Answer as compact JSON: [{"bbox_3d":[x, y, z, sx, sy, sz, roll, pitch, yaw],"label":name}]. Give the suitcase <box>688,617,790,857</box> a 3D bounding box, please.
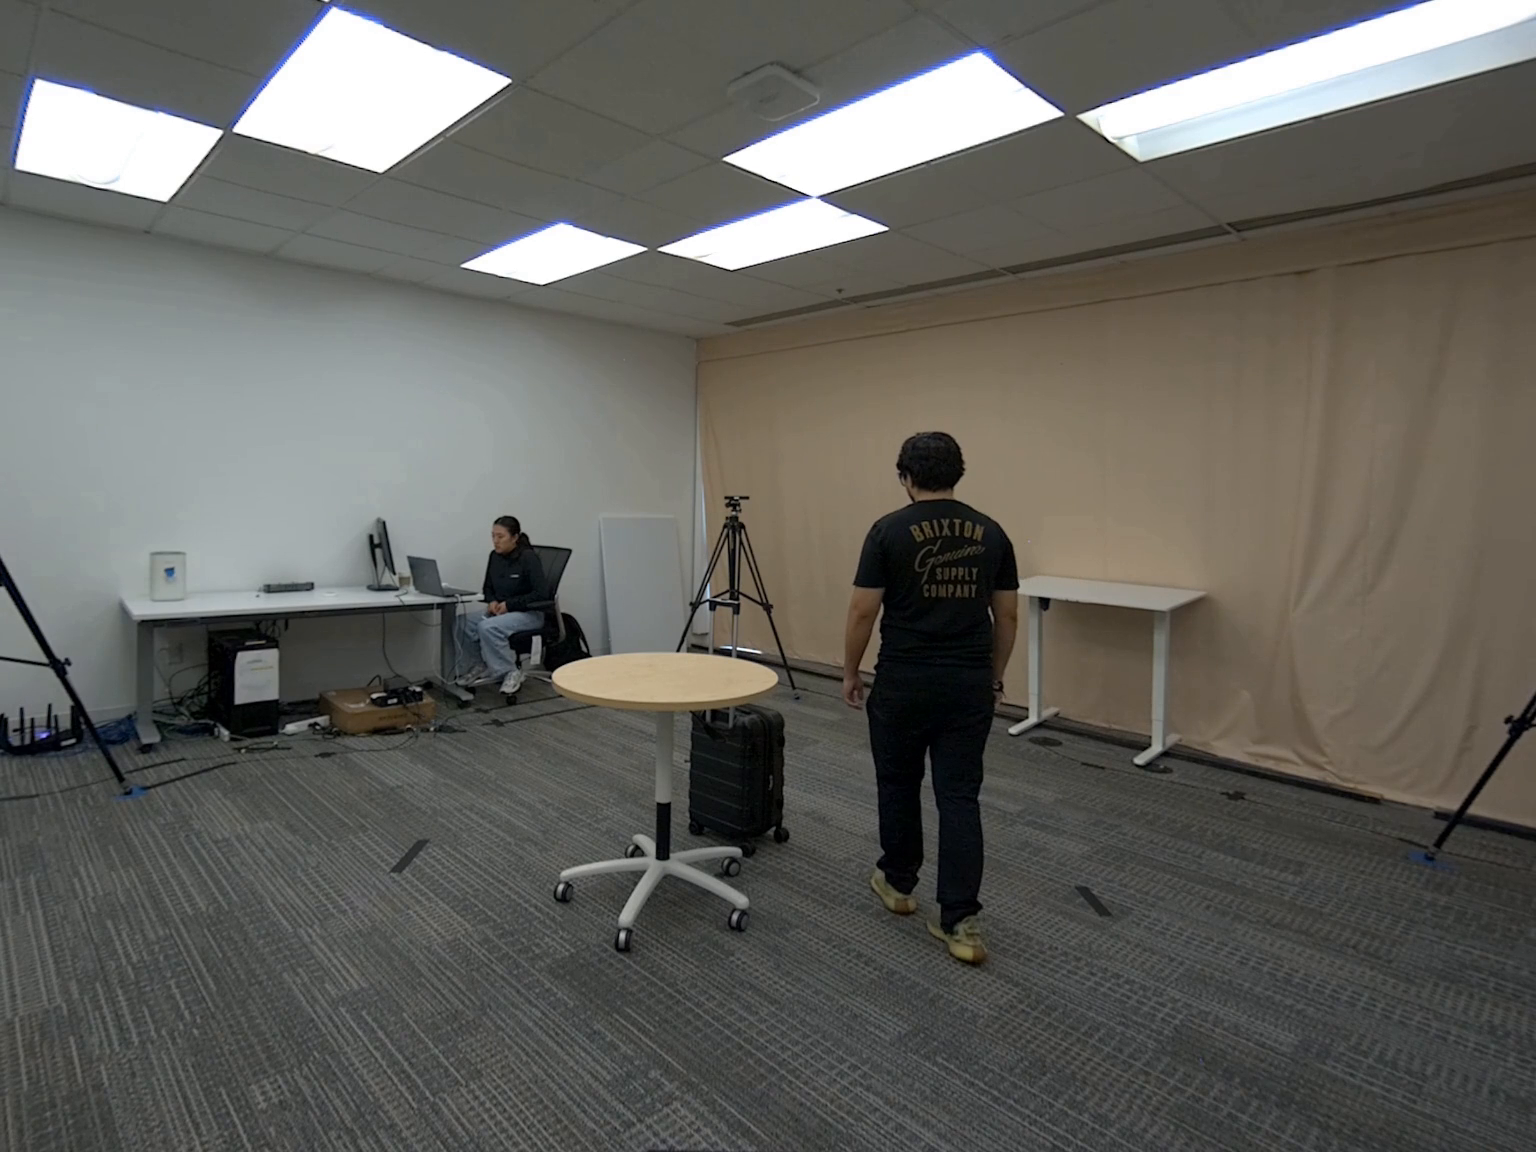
[{"bbox_3d":[-0.124,0.593,3.455,0.393,0.978,0.251,3,1,41],"label":"suitcase"}]
